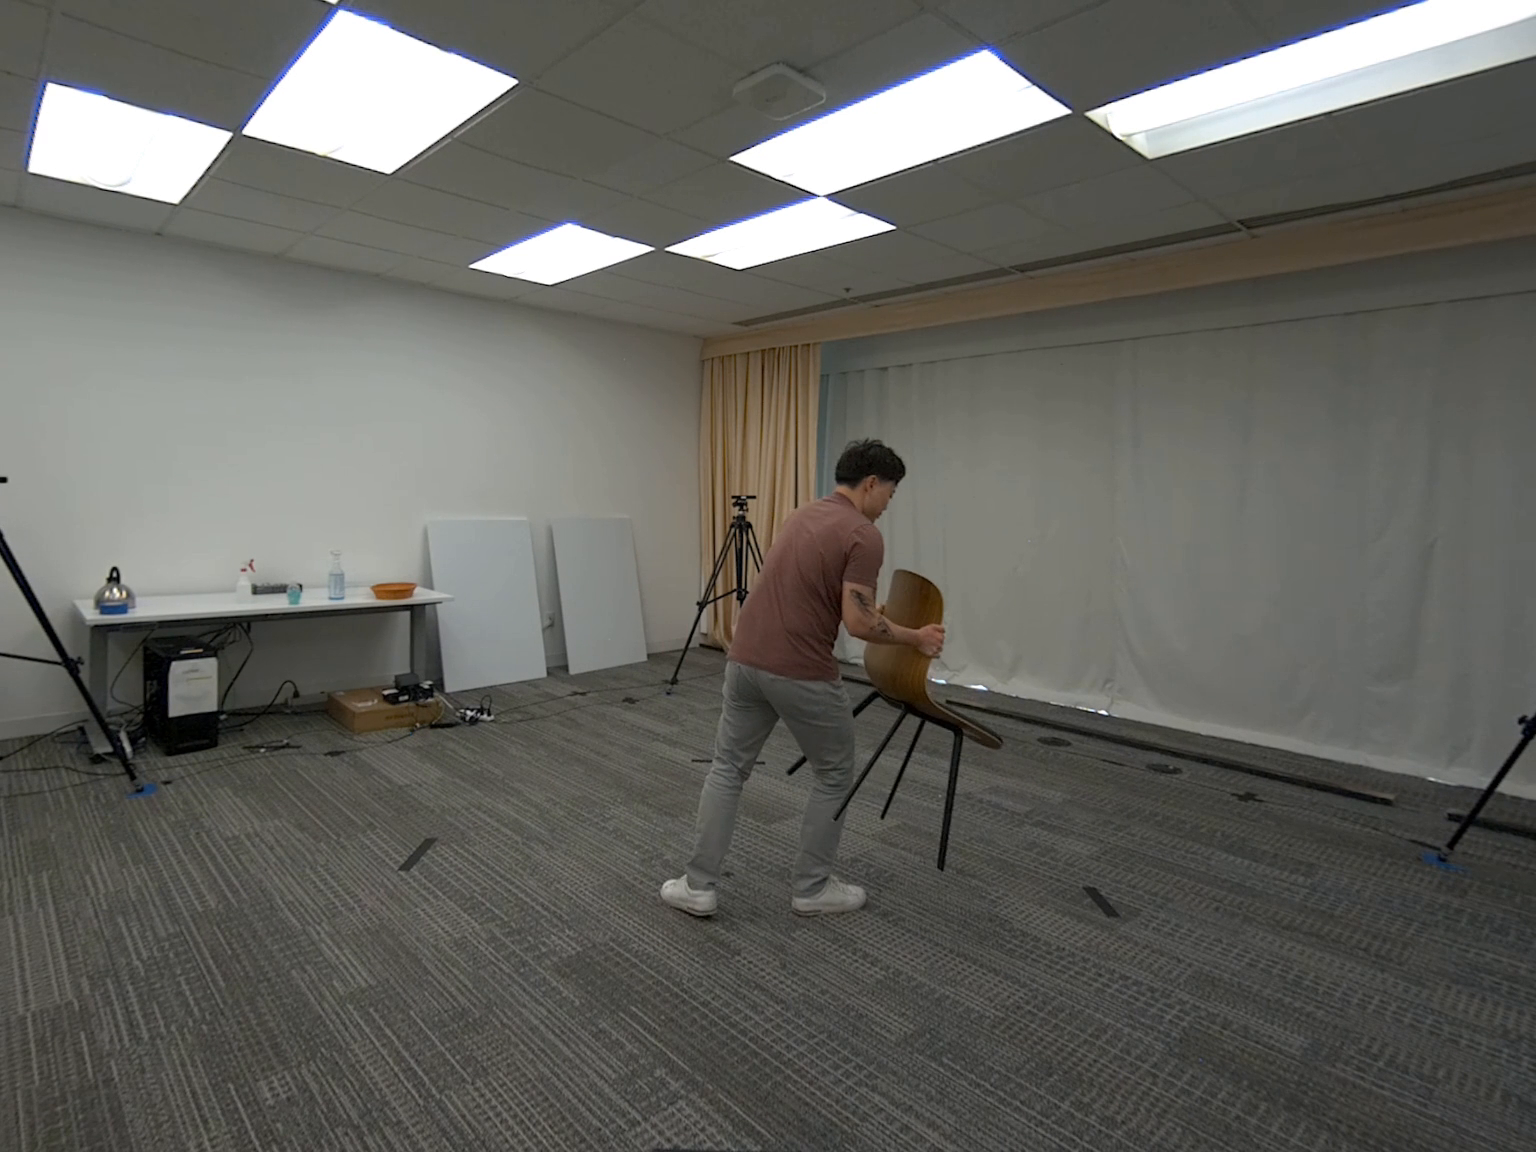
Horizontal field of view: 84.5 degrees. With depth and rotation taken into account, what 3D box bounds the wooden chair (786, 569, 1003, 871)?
[{"bbox_3d":[0.521,0.482,2.969,0.514,0.878,0.486,25,-3,-18],"label":"wooden chair"}]
